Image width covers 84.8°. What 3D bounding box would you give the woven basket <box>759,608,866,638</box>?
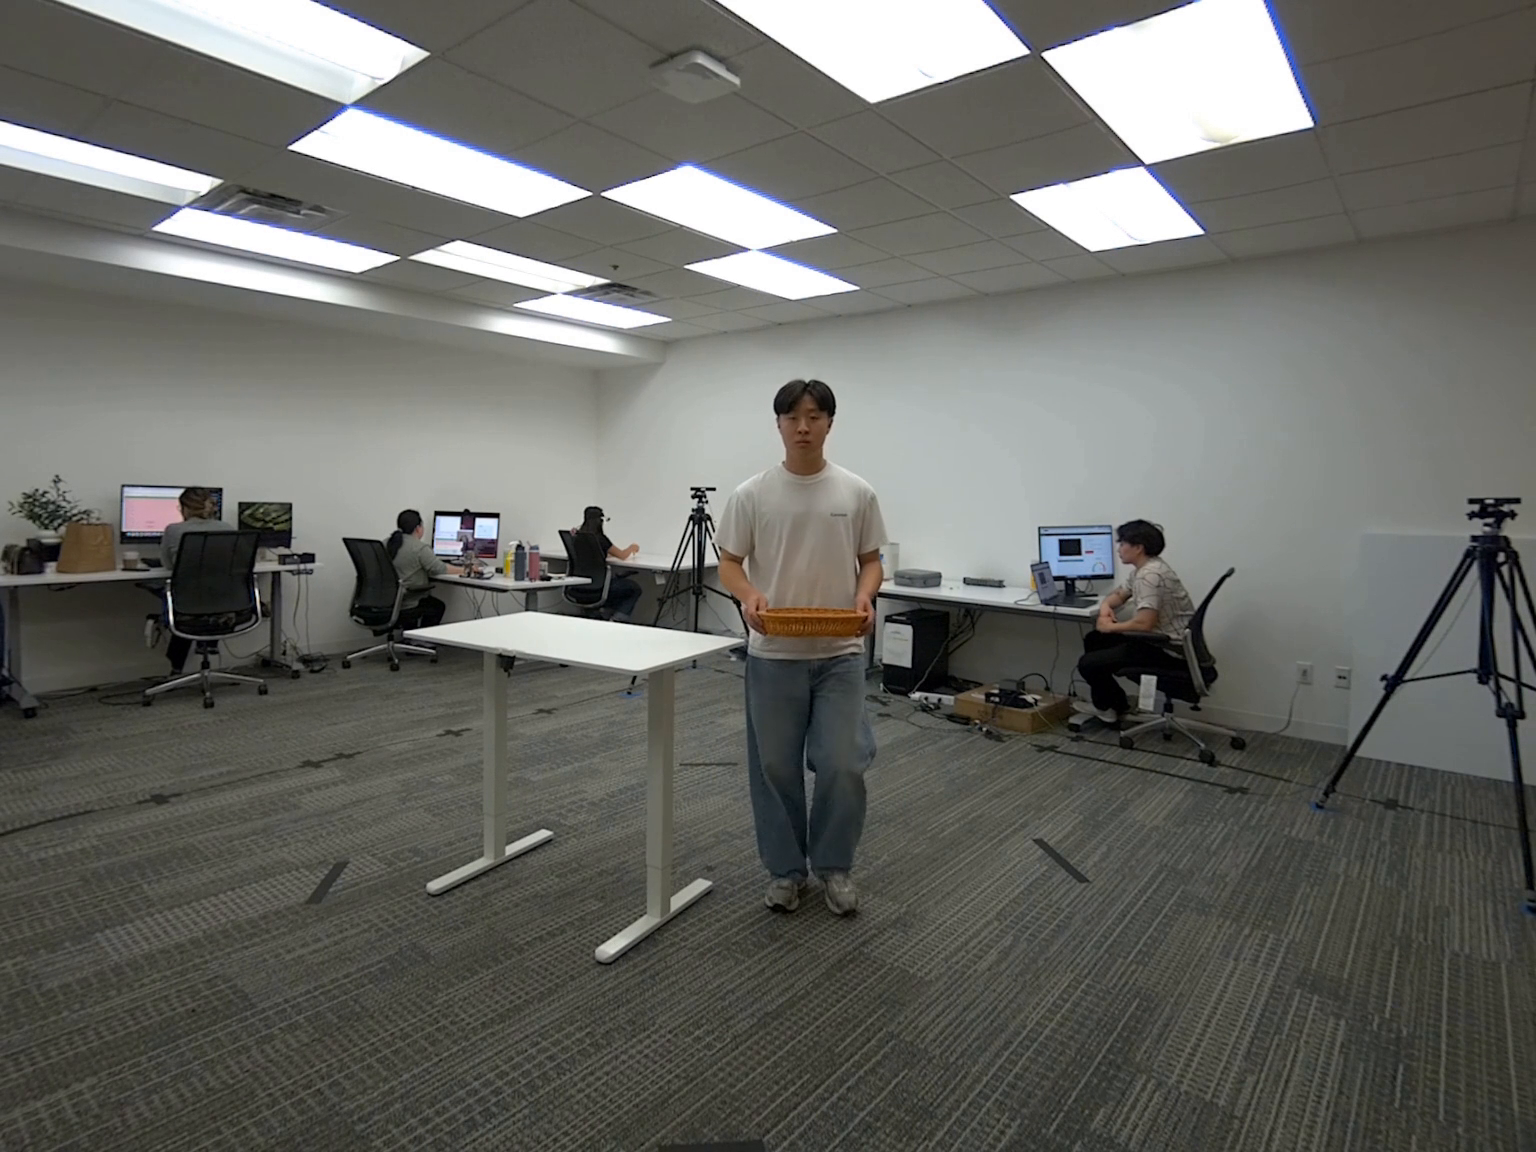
[{"bbox_3d":[0.140,0.146,2.648,0.350,0.073,0.252,0,1,-1],"label":"woven basket"}]
